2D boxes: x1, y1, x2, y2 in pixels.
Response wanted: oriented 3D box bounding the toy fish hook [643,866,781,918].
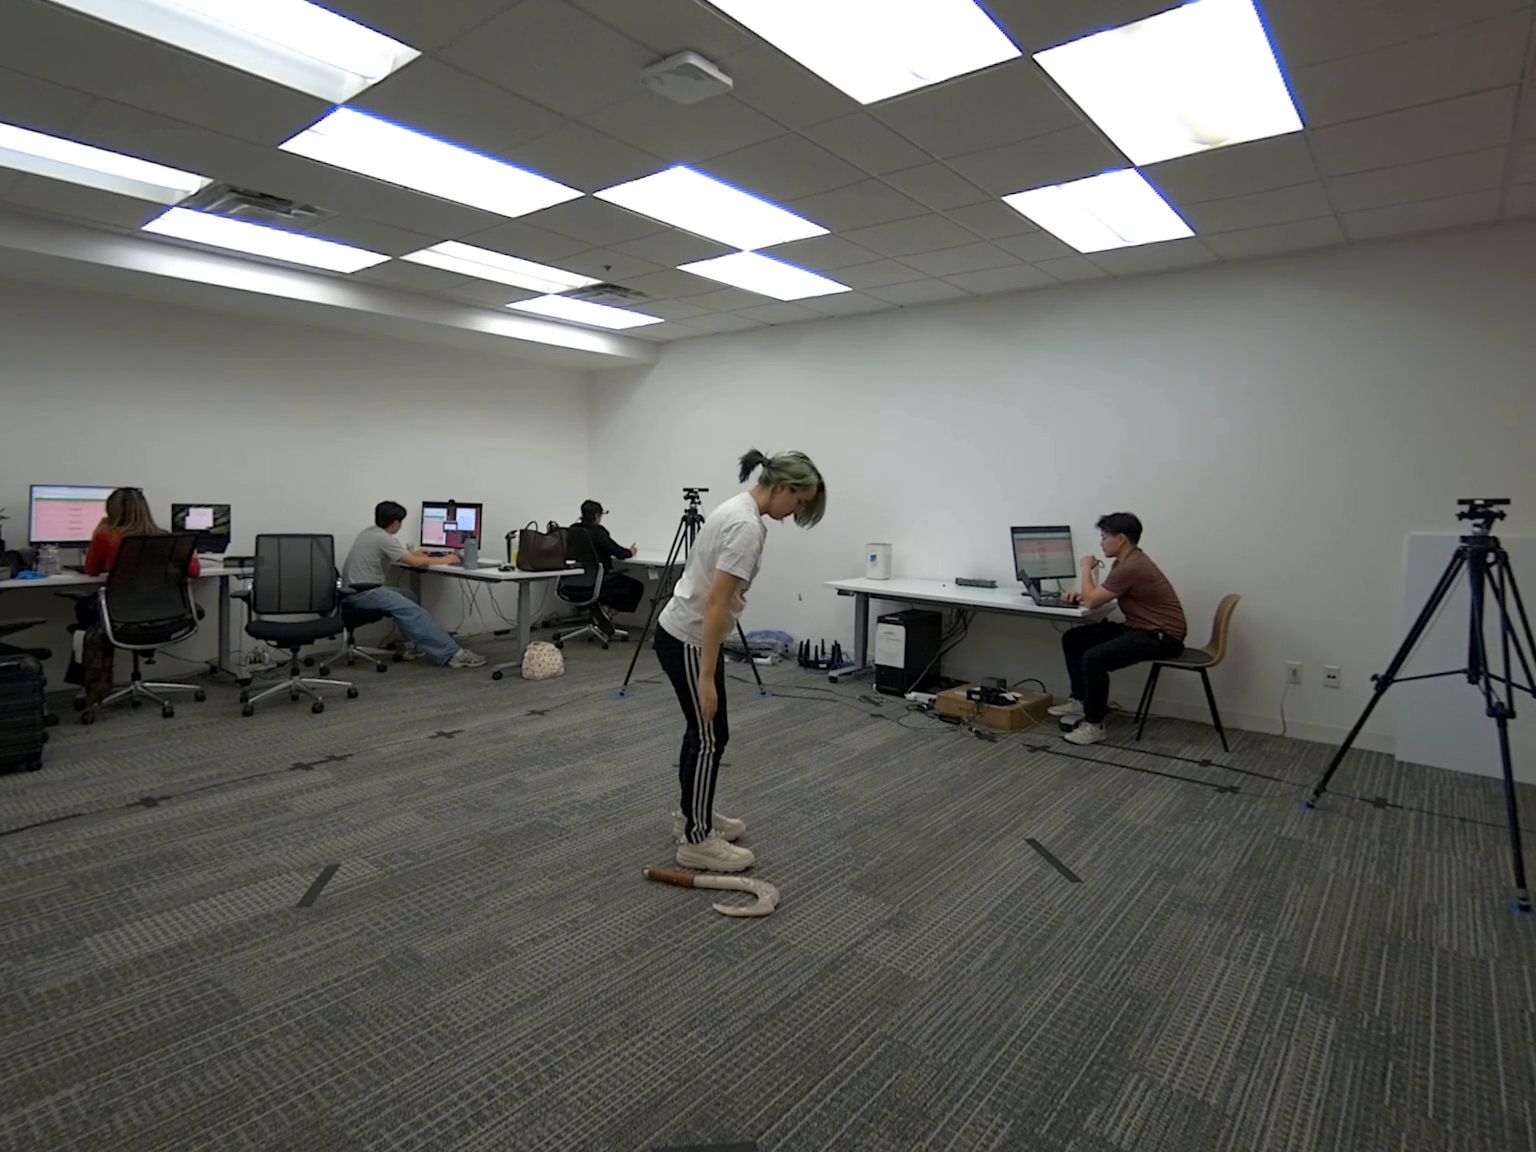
[{"bbox_3d":[-0.224,1.064,2.900,0.516,0.048,0.221,2,4,18],"label":"toy fish hook"}]
